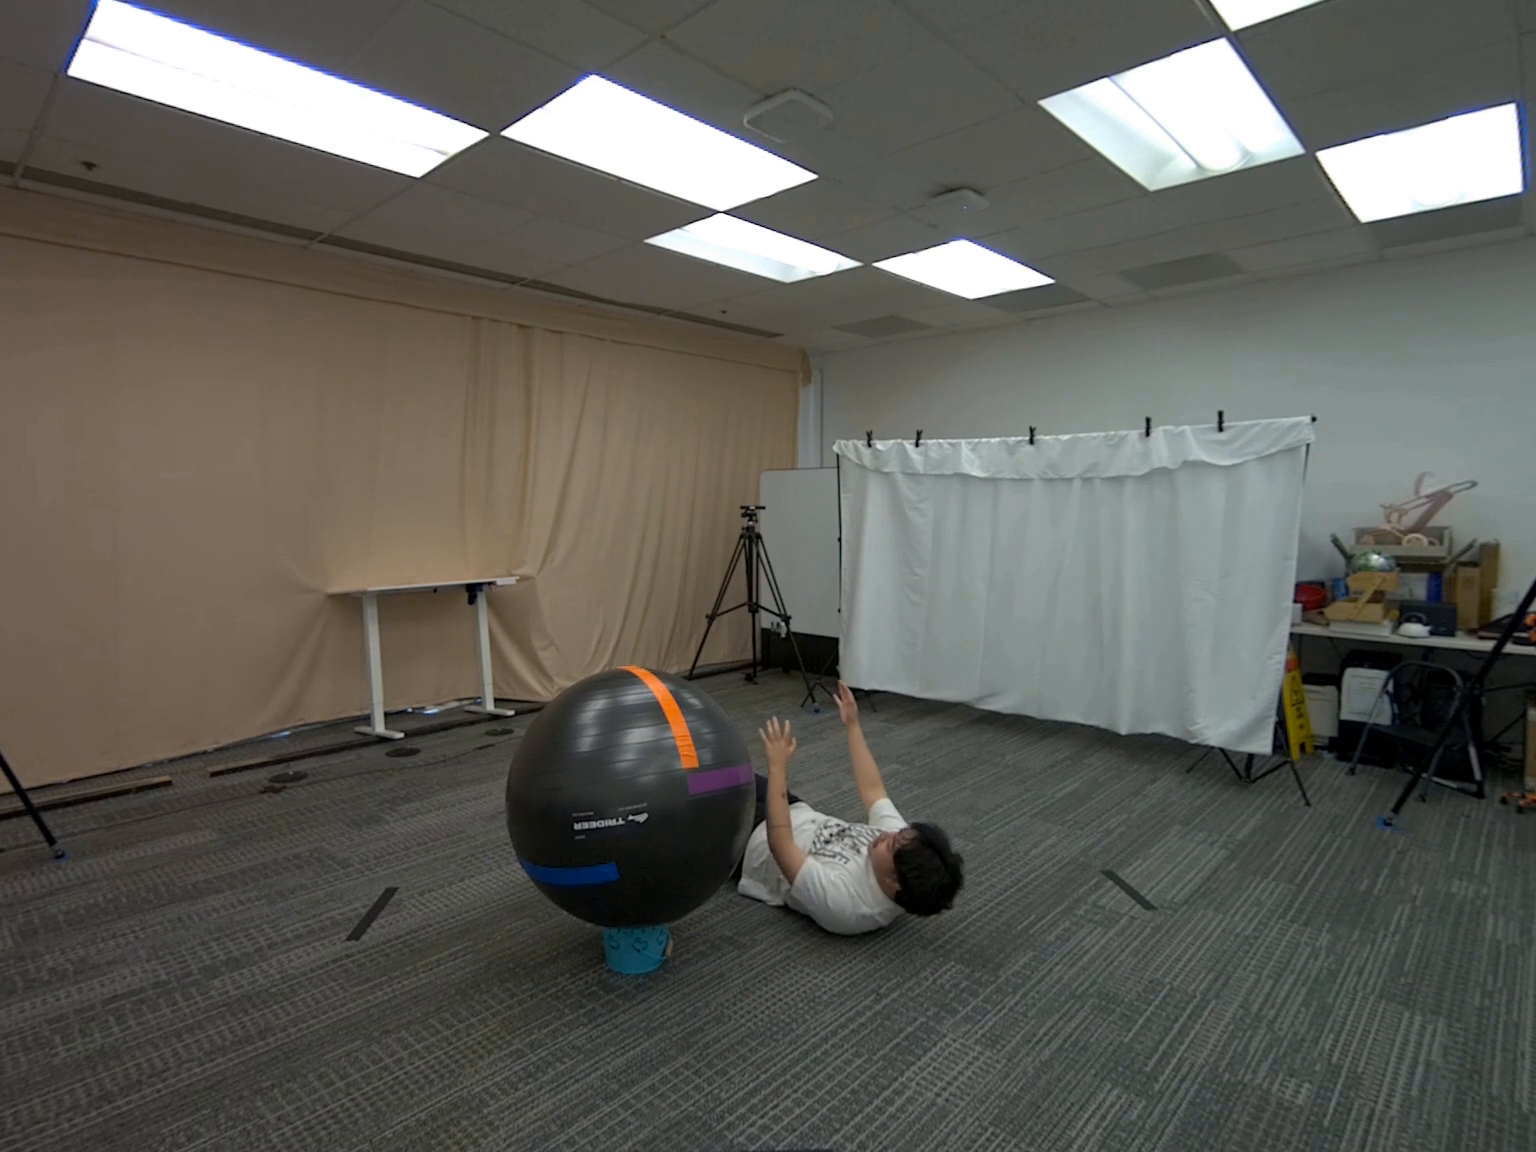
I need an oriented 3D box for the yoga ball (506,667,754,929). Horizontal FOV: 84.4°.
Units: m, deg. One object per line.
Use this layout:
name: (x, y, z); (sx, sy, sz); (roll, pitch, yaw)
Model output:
yoga ball: (-0.431, 0.673, 2.572); (0.757, 0.756, 0.761); (0, 4, -2)
